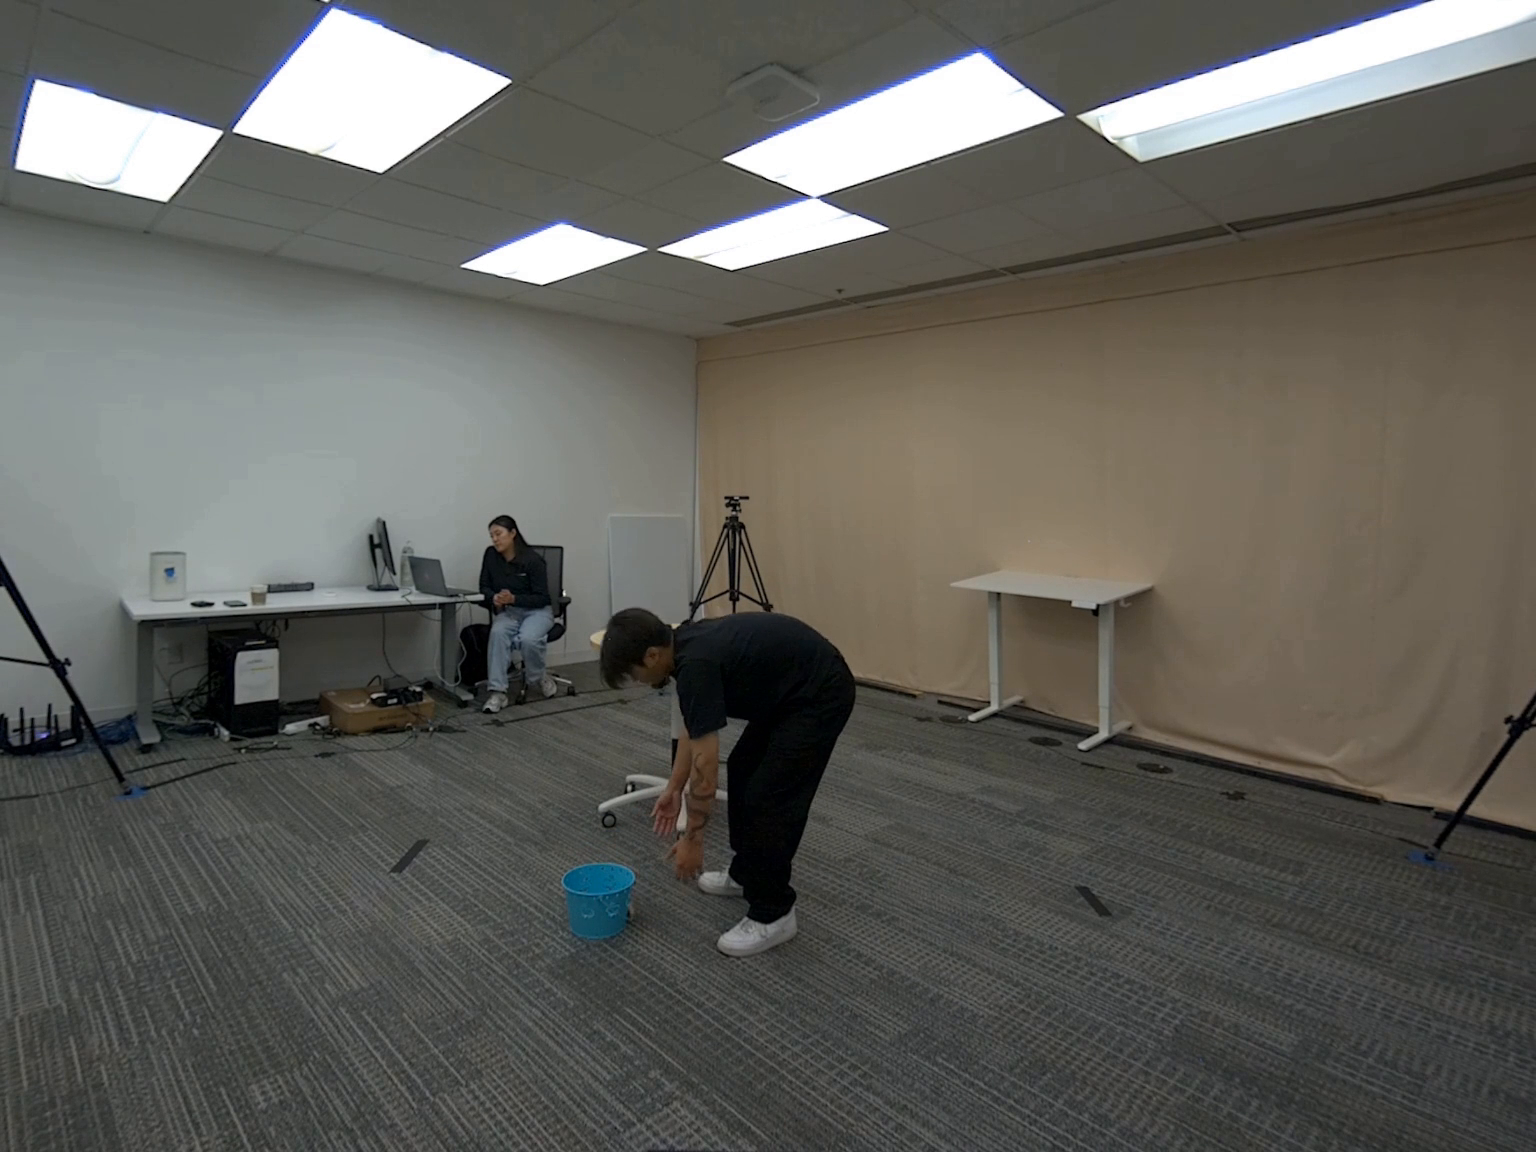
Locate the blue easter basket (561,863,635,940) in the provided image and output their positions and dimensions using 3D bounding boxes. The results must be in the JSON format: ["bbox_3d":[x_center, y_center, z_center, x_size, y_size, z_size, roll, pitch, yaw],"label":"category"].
[{"bbox_3d":[-0.558,1.055,2.723,0.243,0.155,0.244,1,5,-1],"label":"blue easter basket"}]
